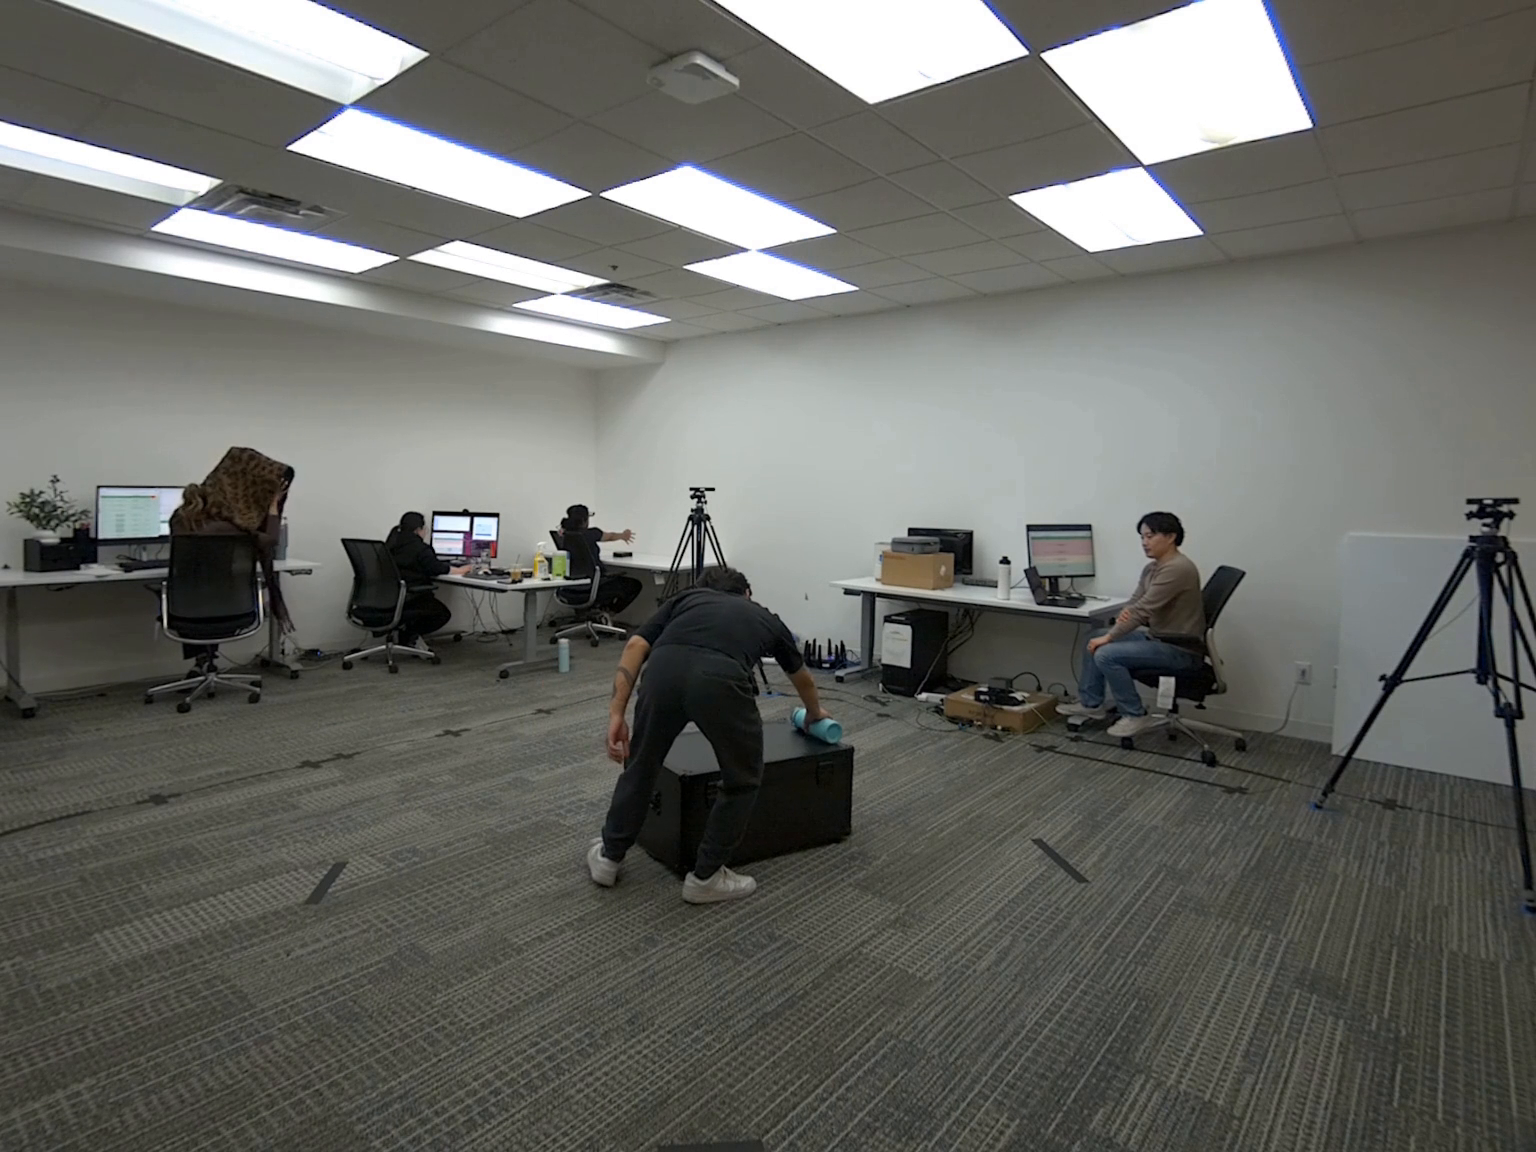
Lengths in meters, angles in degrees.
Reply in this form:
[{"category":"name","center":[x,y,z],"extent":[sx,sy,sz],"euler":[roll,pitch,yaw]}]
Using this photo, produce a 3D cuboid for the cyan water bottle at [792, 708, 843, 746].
[{"category":"cyan water bottle","center":[0.176,0.606,3.531],"extent":[0.090,0.092,0.292],"euler":[-1,8,-30]}]
